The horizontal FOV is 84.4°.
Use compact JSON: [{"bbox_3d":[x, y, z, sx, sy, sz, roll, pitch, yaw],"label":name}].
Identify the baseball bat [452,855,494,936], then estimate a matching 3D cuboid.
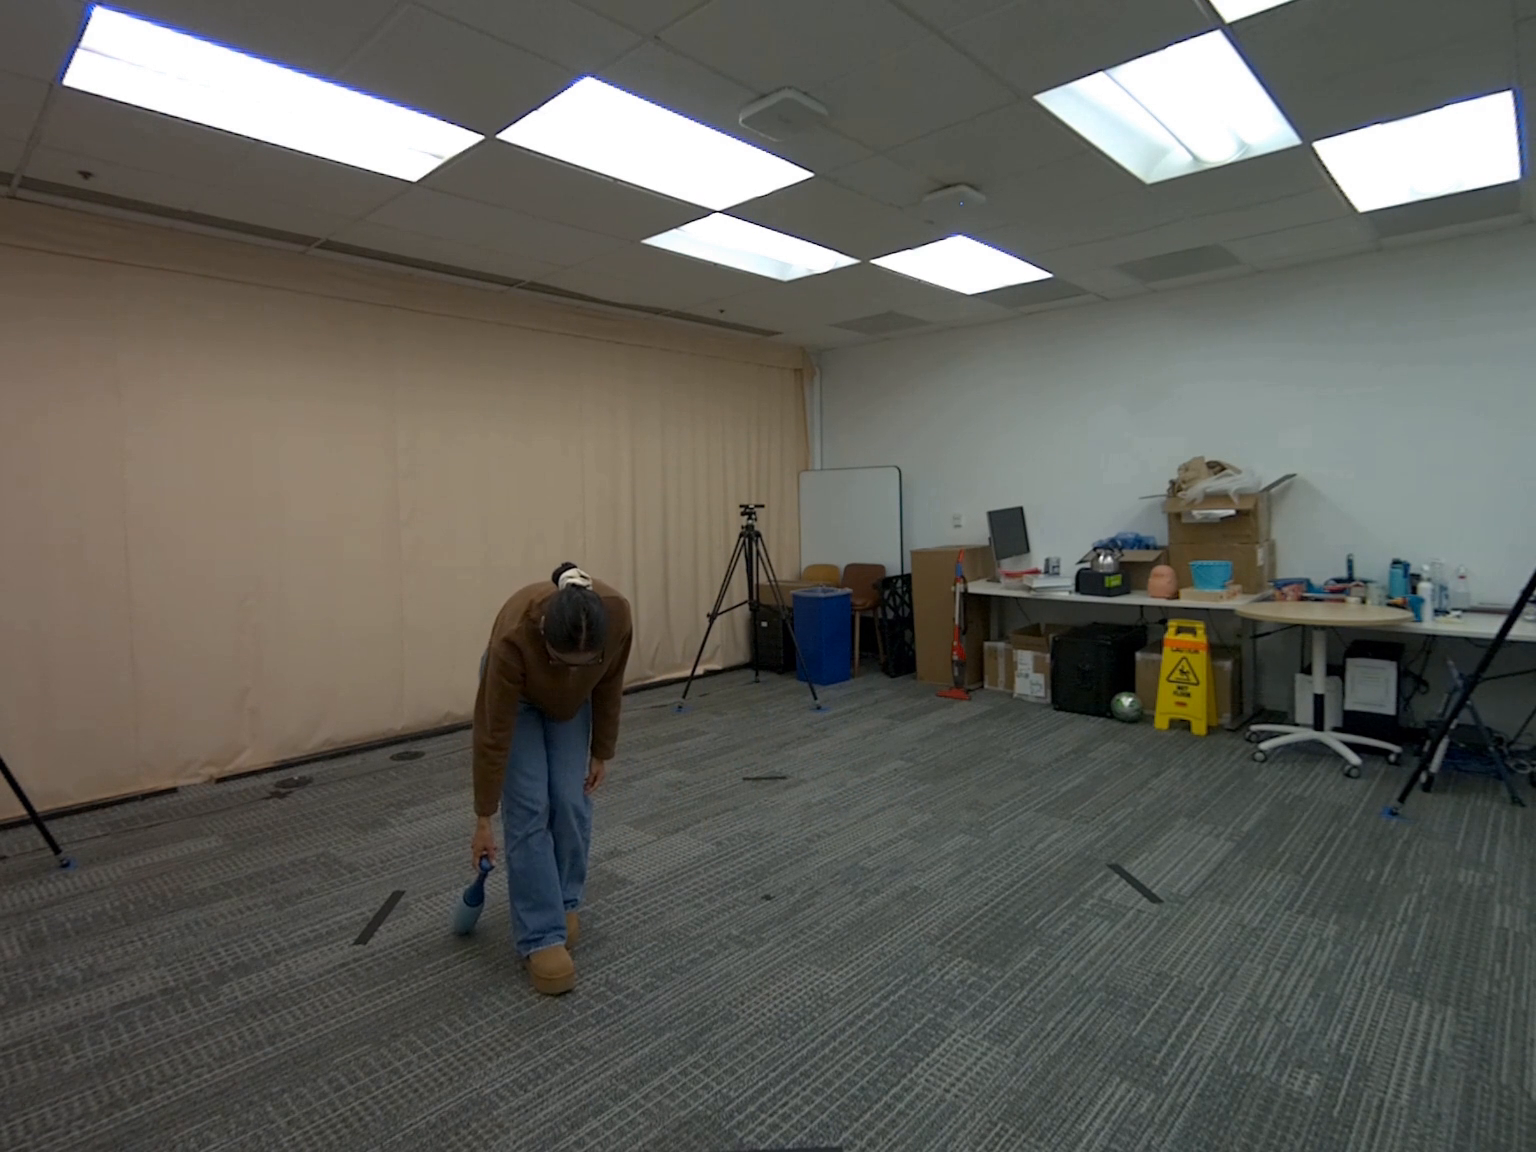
[{"bbox_3d":[-0.918,1.000,2.620,0.087,0.091,0.543,-2,-35,-30],"label":"baseball bat"}]
